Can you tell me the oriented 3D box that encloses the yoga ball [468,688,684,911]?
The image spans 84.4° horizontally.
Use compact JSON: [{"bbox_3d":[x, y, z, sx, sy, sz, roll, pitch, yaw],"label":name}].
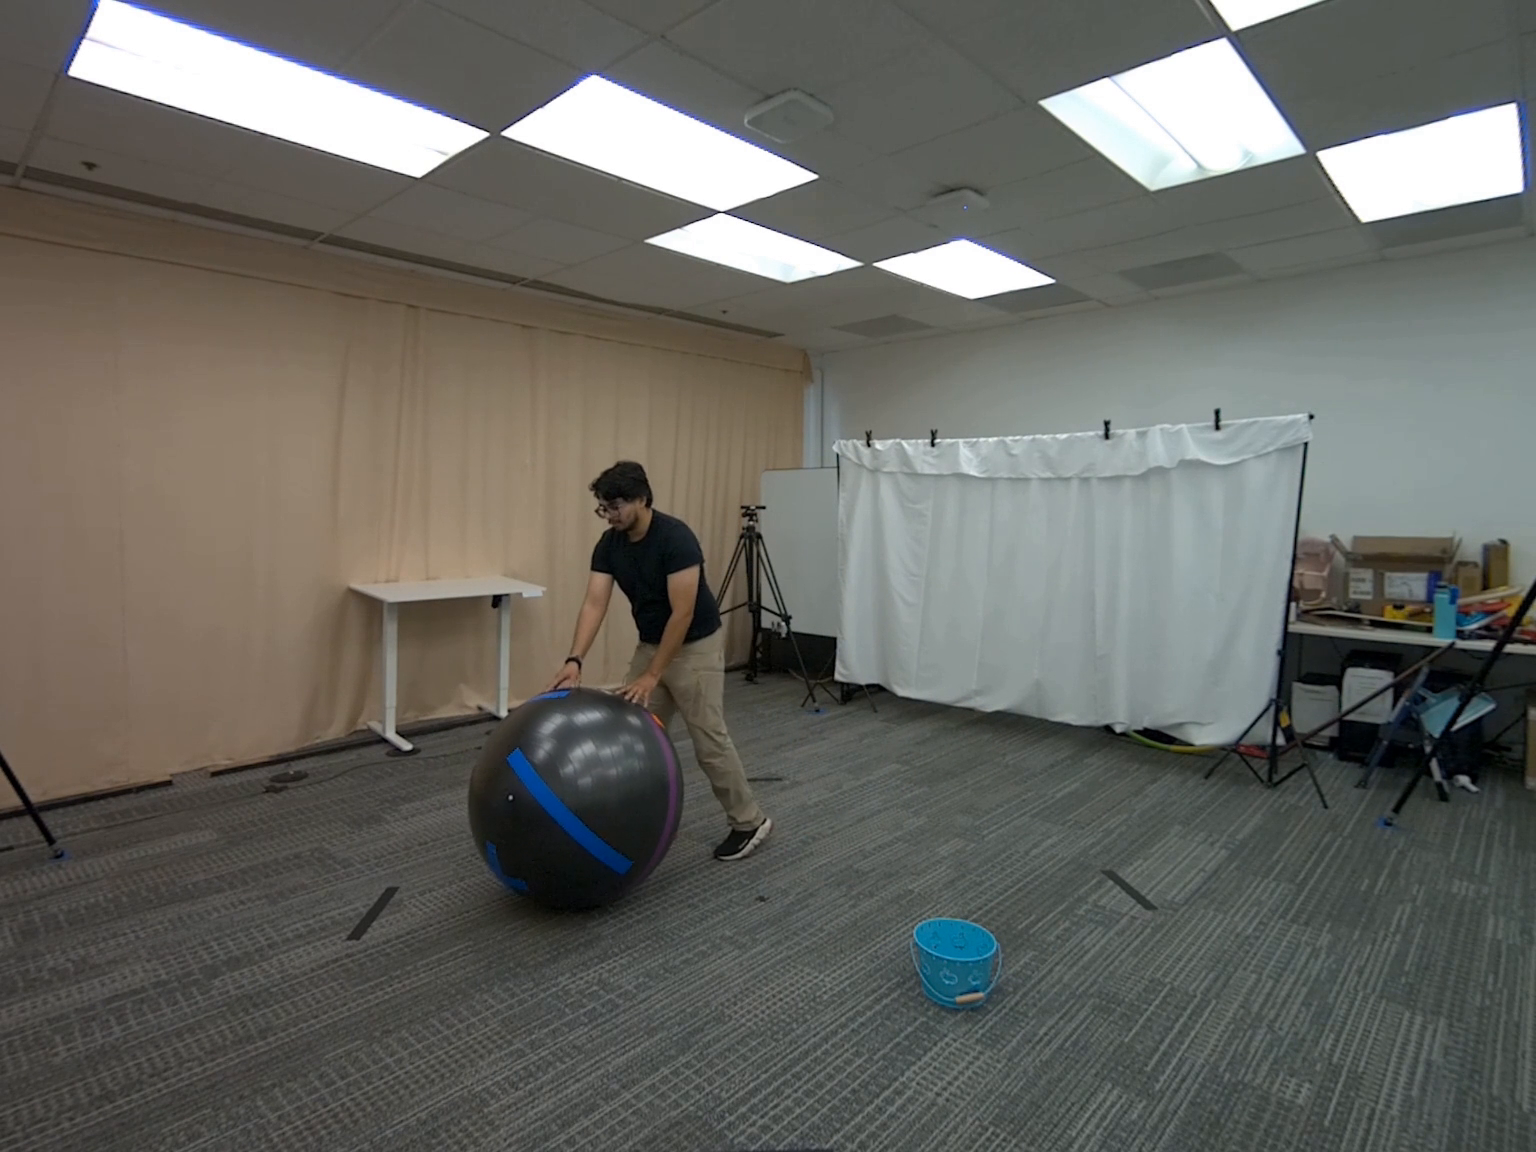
[{"bbox_3d":[-0.685,0.783,3.007,0.757,0.756,0.760,0,4,-2],"label":"yoga ball"}]
